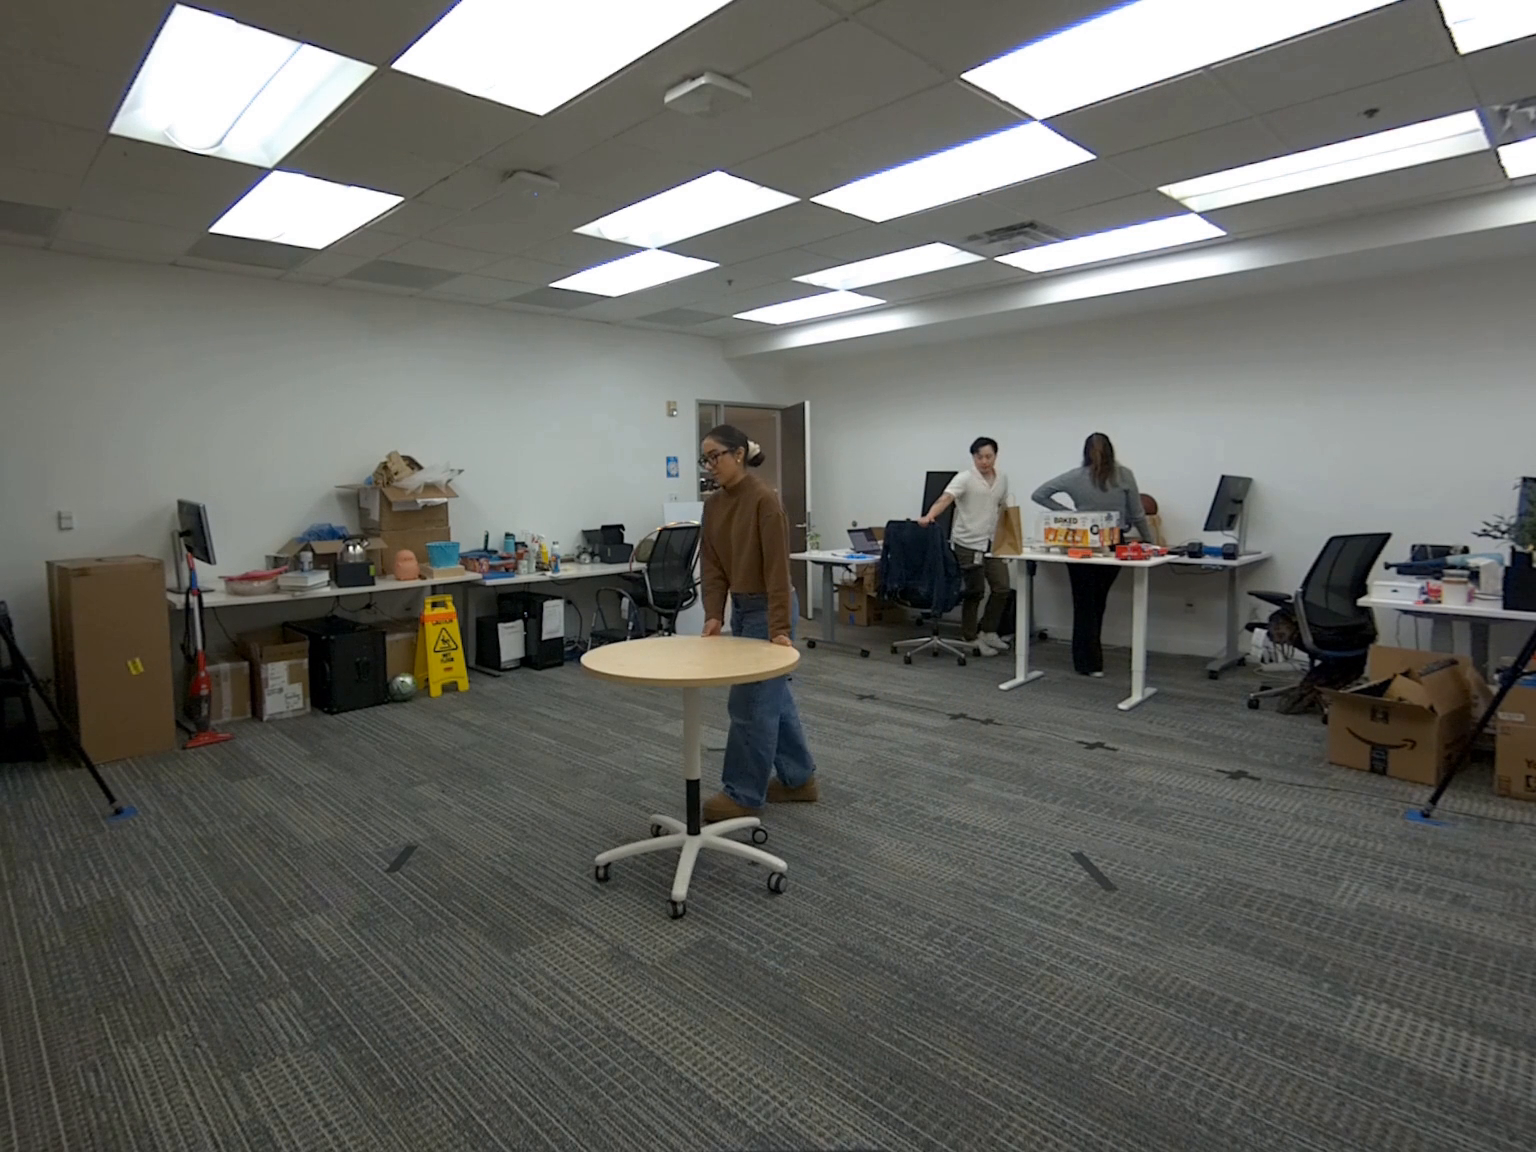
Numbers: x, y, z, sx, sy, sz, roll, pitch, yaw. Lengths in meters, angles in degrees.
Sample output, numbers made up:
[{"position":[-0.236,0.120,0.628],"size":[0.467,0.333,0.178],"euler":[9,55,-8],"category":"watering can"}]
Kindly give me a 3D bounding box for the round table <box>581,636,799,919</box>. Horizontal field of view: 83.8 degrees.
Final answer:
[{"position":[-0.266,0.662,3.044],"size":[0.784,0.783,0.789],"euler":[-1,5,-2],"category":"round table"}]
